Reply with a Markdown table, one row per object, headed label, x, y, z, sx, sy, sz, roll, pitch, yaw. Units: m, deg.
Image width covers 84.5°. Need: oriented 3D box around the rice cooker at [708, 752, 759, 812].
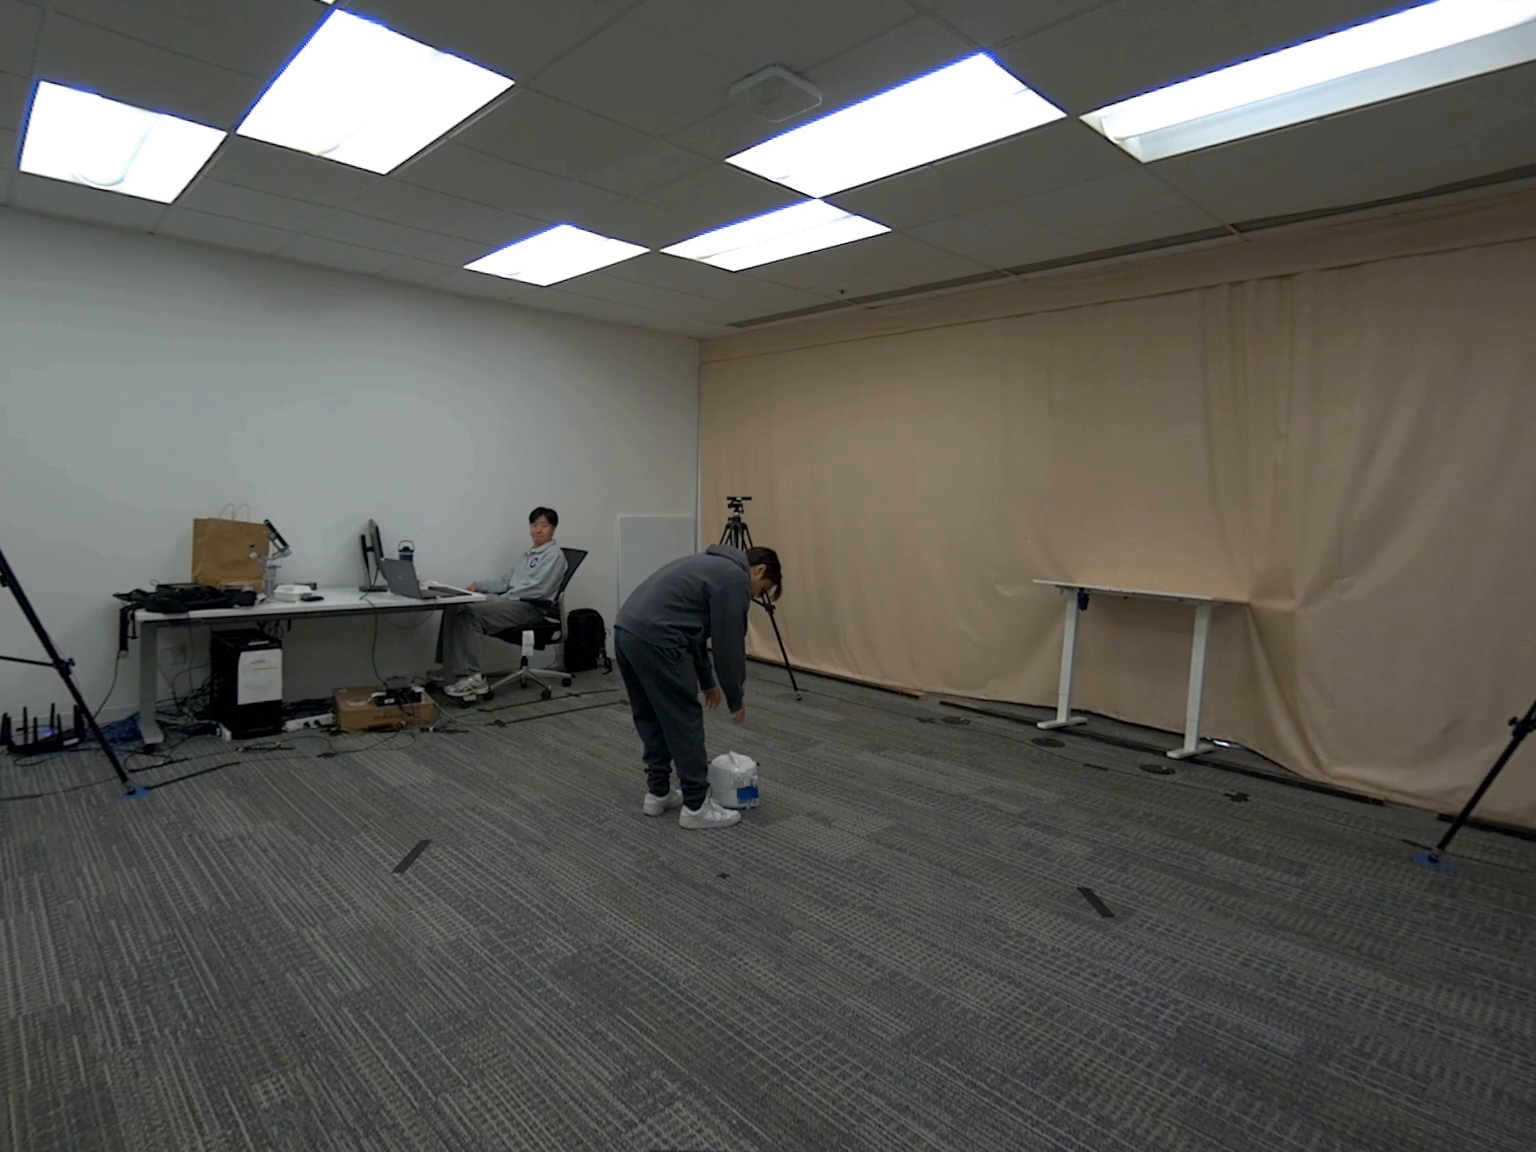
| label | x | y | z | sx | sy | sz | roll | pitch | yaw |
| --- | --- | --- | --- | --- | --- | --- | --- | --- | --- |
| rice cooker | -0.171 | 0.926 | 3.848 | 0.215 | 0.232 | 0.223 | 2 | 4 | -13 |
